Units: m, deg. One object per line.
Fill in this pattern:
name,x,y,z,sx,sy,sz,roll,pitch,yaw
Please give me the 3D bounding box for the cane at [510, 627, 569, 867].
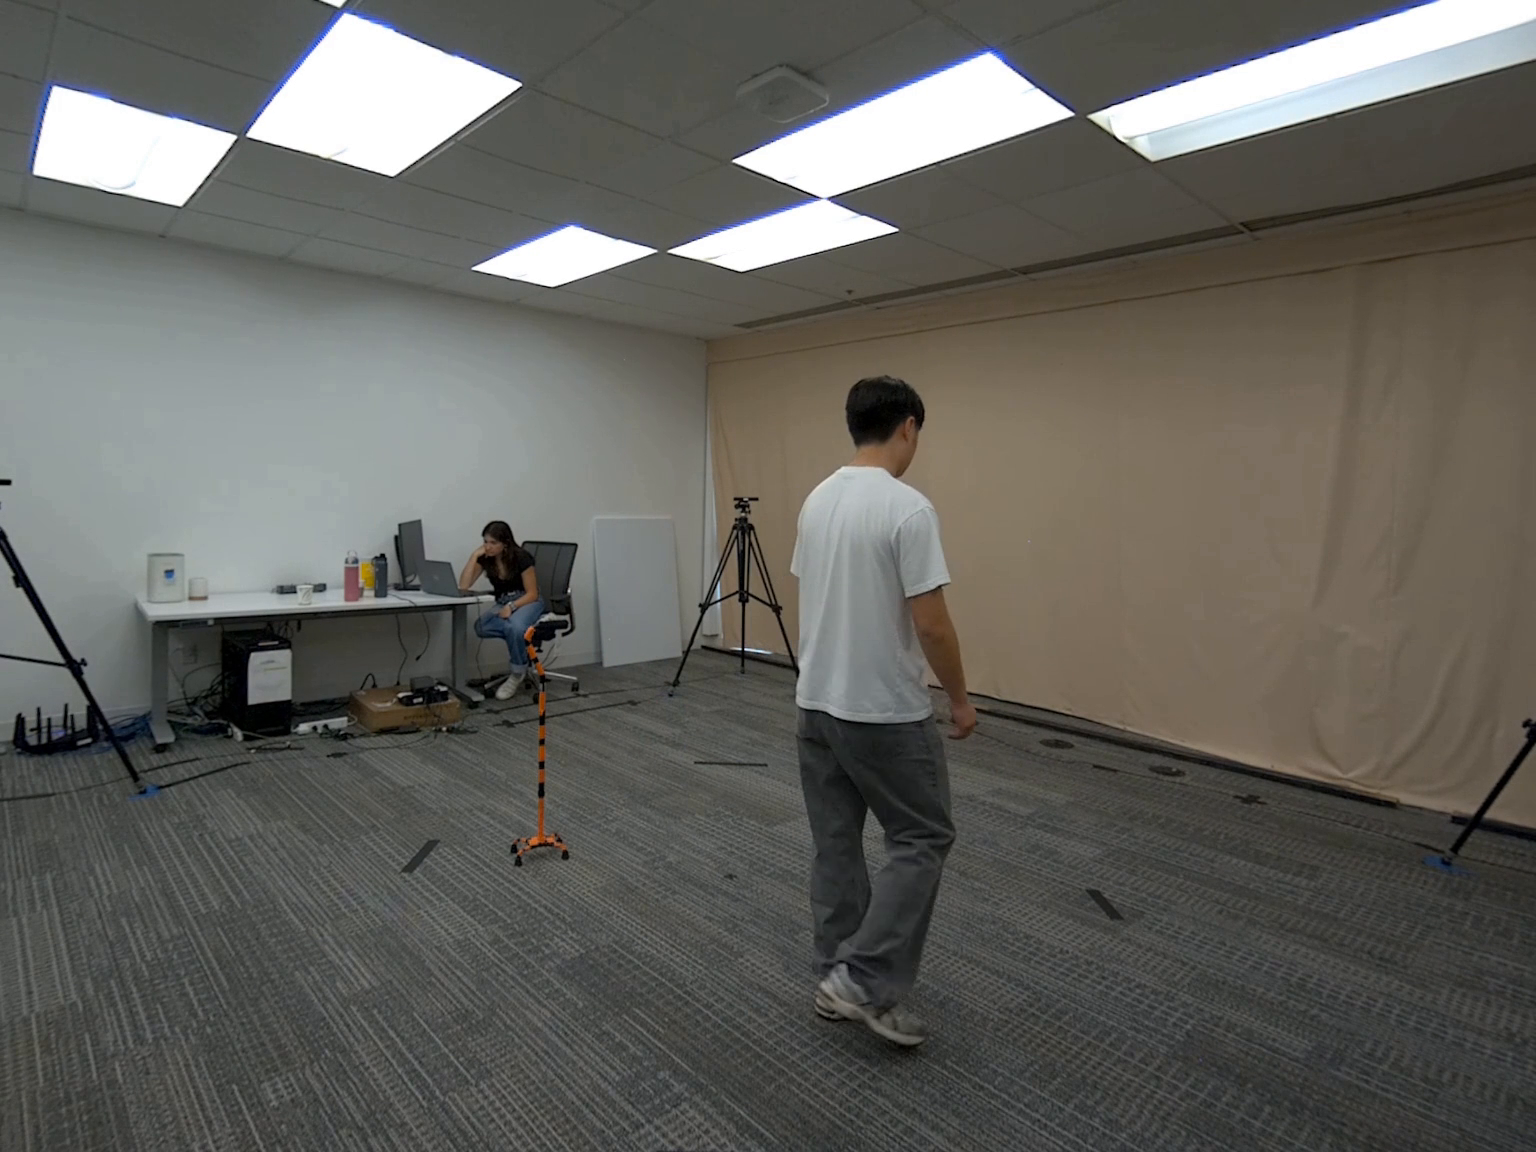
cane,-0.877,0.630,3.223,0.203,0.906,0.154,0,3,-25
